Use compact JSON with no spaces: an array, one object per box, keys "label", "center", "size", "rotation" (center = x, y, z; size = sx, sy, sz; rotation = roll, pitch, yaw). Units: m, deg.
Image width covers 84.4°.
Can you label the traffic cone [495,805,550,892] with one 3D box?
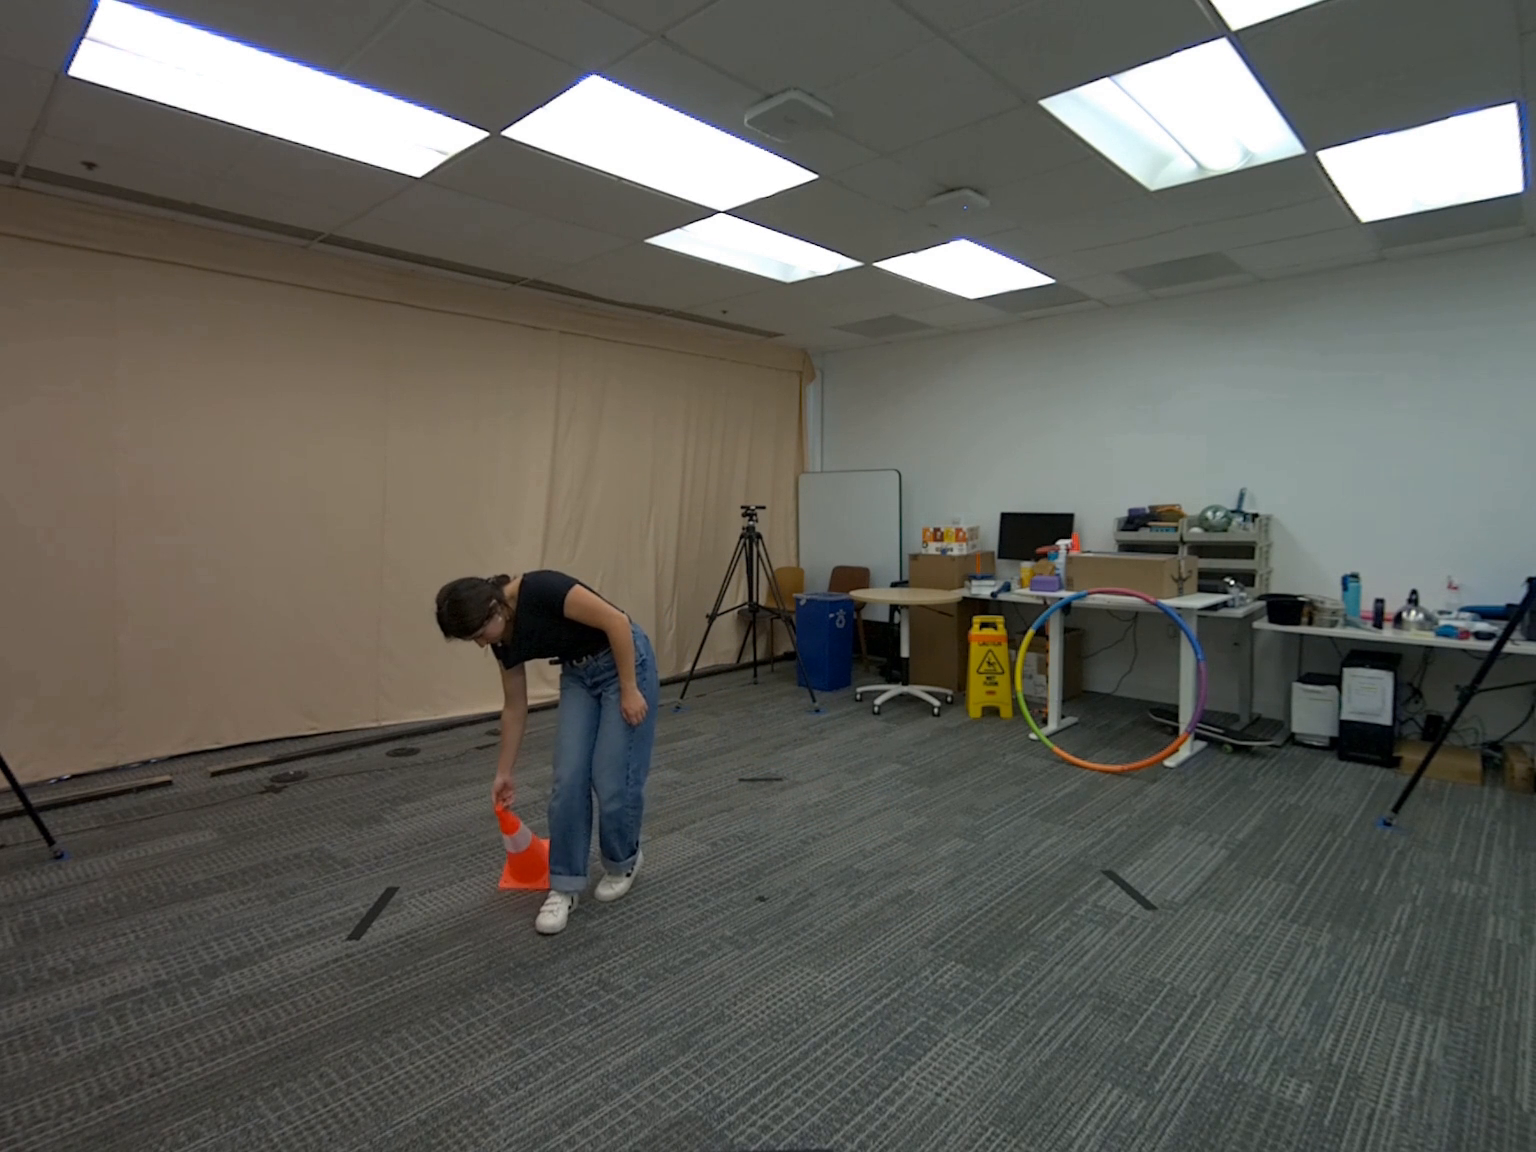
[{"label":"traffic cone","center":[-0.907,0.945,3.031],"size":[0.205,0.375,0.208],"rotation":[-4,39,6]}]
